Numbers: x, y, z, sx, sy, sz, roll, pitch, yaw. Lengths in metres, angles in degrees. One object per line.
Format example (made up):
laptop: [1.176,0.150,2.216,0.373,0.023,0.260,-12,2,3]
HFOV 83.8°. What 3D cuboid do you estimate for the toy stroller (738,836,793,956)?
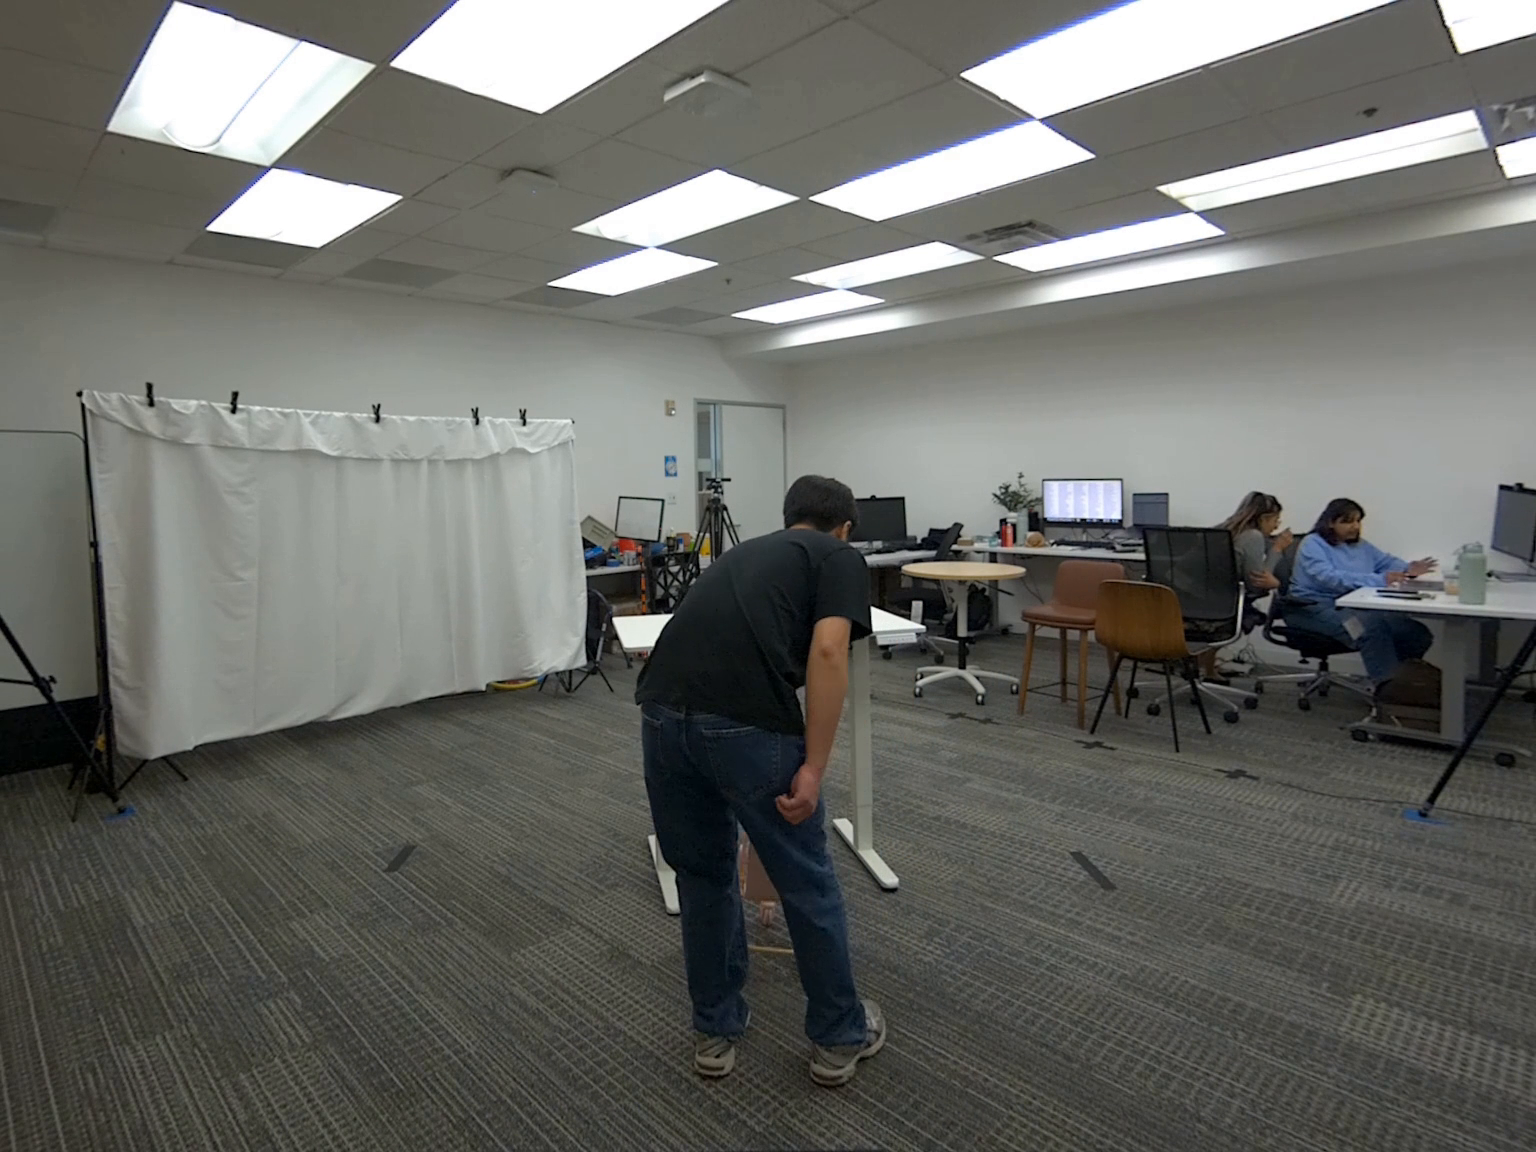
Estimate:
toy stroller: [0.033,0.859,2.518,0.282,0.531,0.343,4,8,1]
